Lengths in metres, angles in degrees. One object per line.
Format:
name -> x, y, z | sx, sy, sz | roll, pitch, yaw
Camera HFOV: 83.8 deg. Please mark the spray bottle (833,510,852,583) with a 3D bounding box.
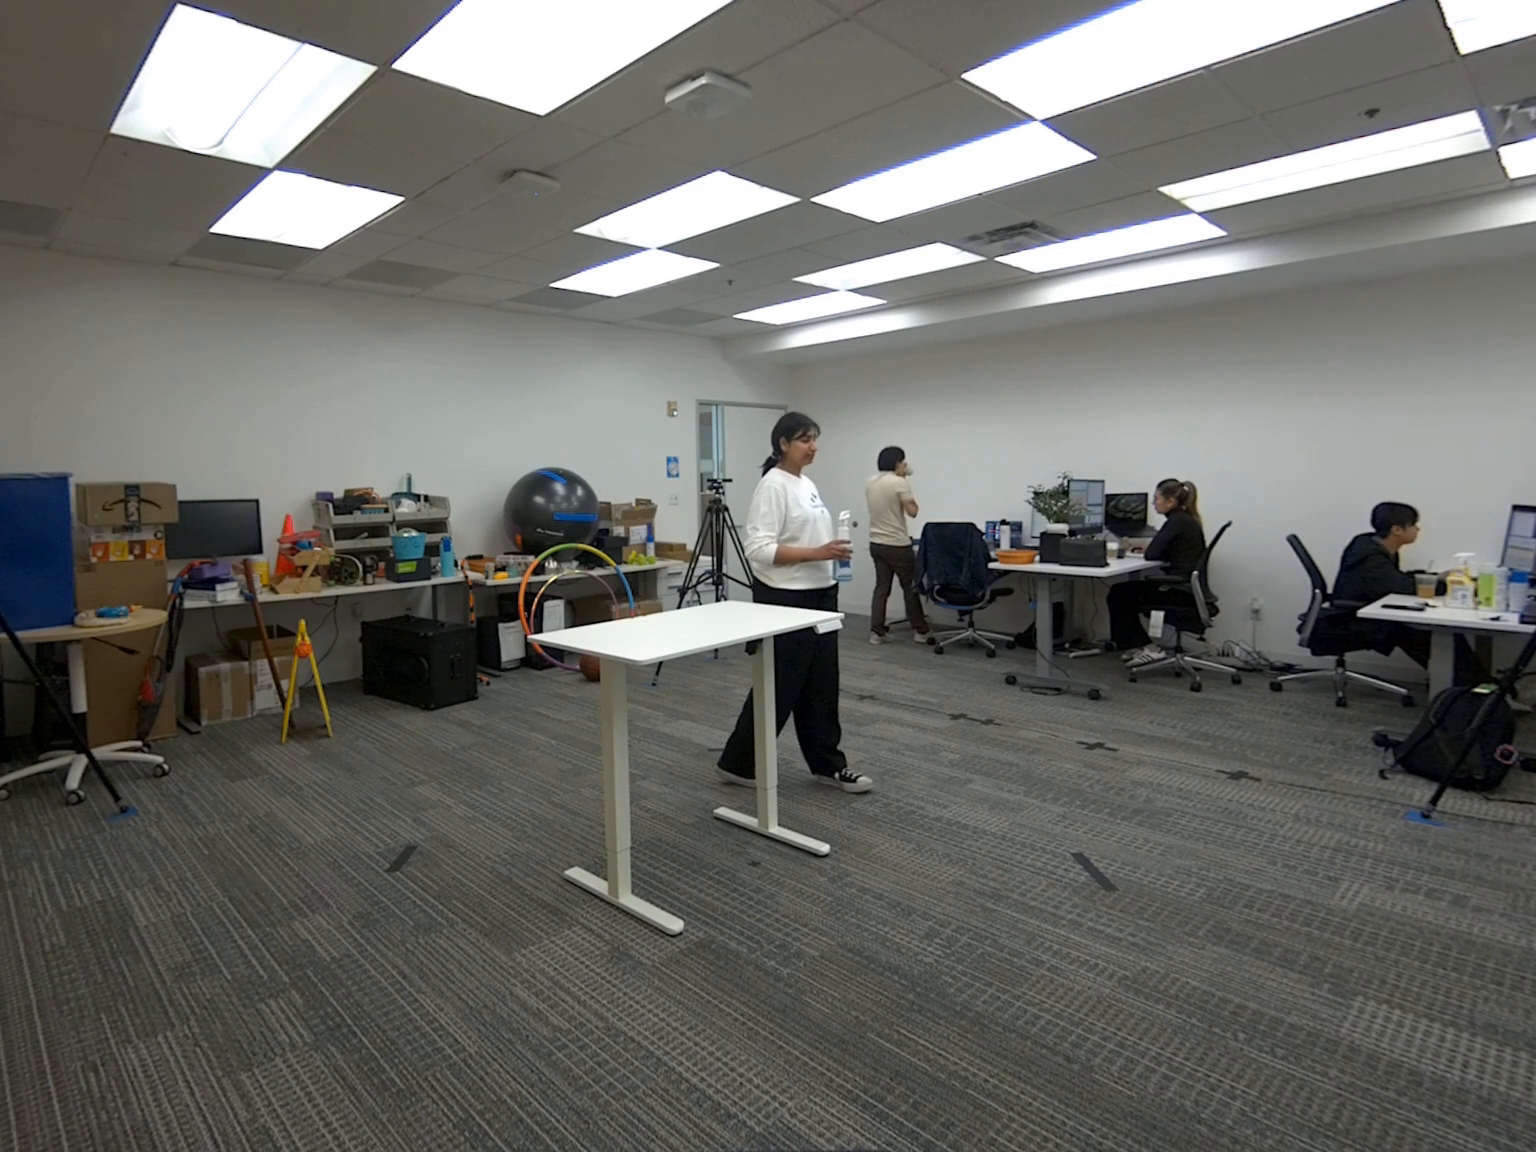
spray bottle -> 0.310, -0.125, 3.663 | 0.088, 0.296, 0.089 | -7, 6, -35
